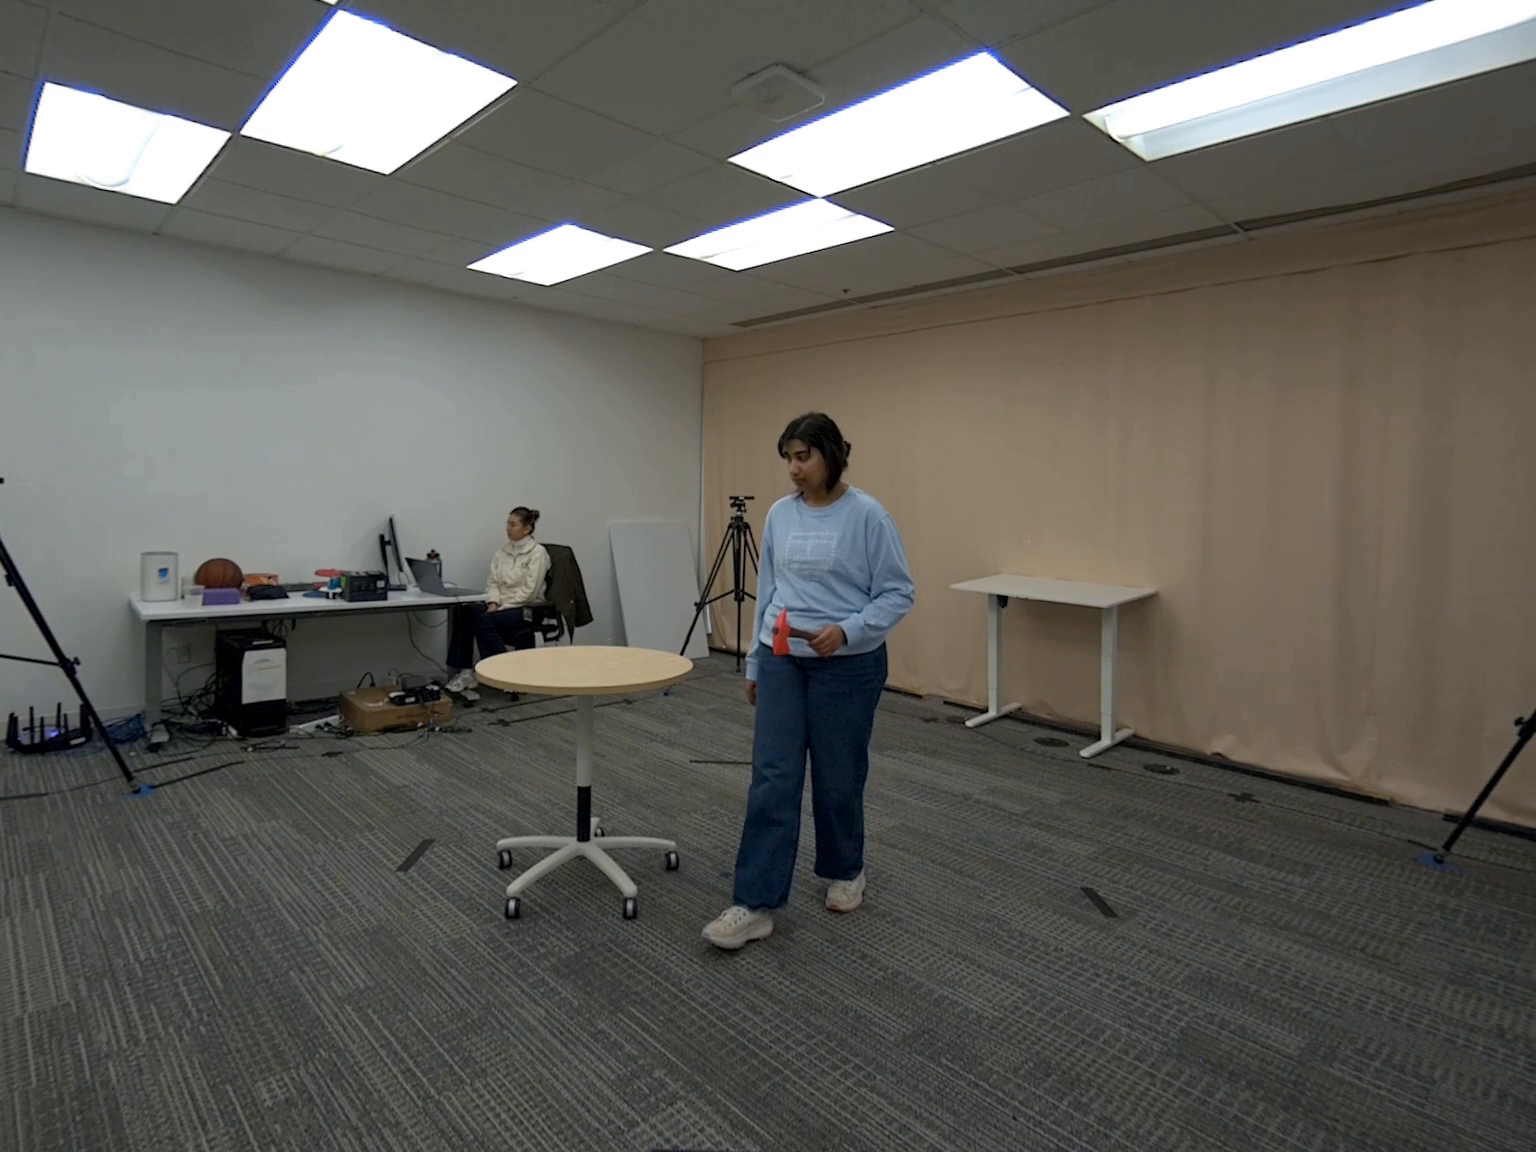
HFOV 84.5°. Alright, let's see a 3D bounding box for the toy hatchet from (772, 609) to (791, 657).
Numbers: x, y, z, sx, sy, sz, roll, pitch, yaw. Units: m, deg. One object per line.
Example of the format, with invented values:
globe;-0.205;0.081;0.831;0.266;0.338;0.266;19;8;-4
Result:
toy hatchet;0.072;0.211;2.458;0.030;0.132;0.261;-2;-30;35
